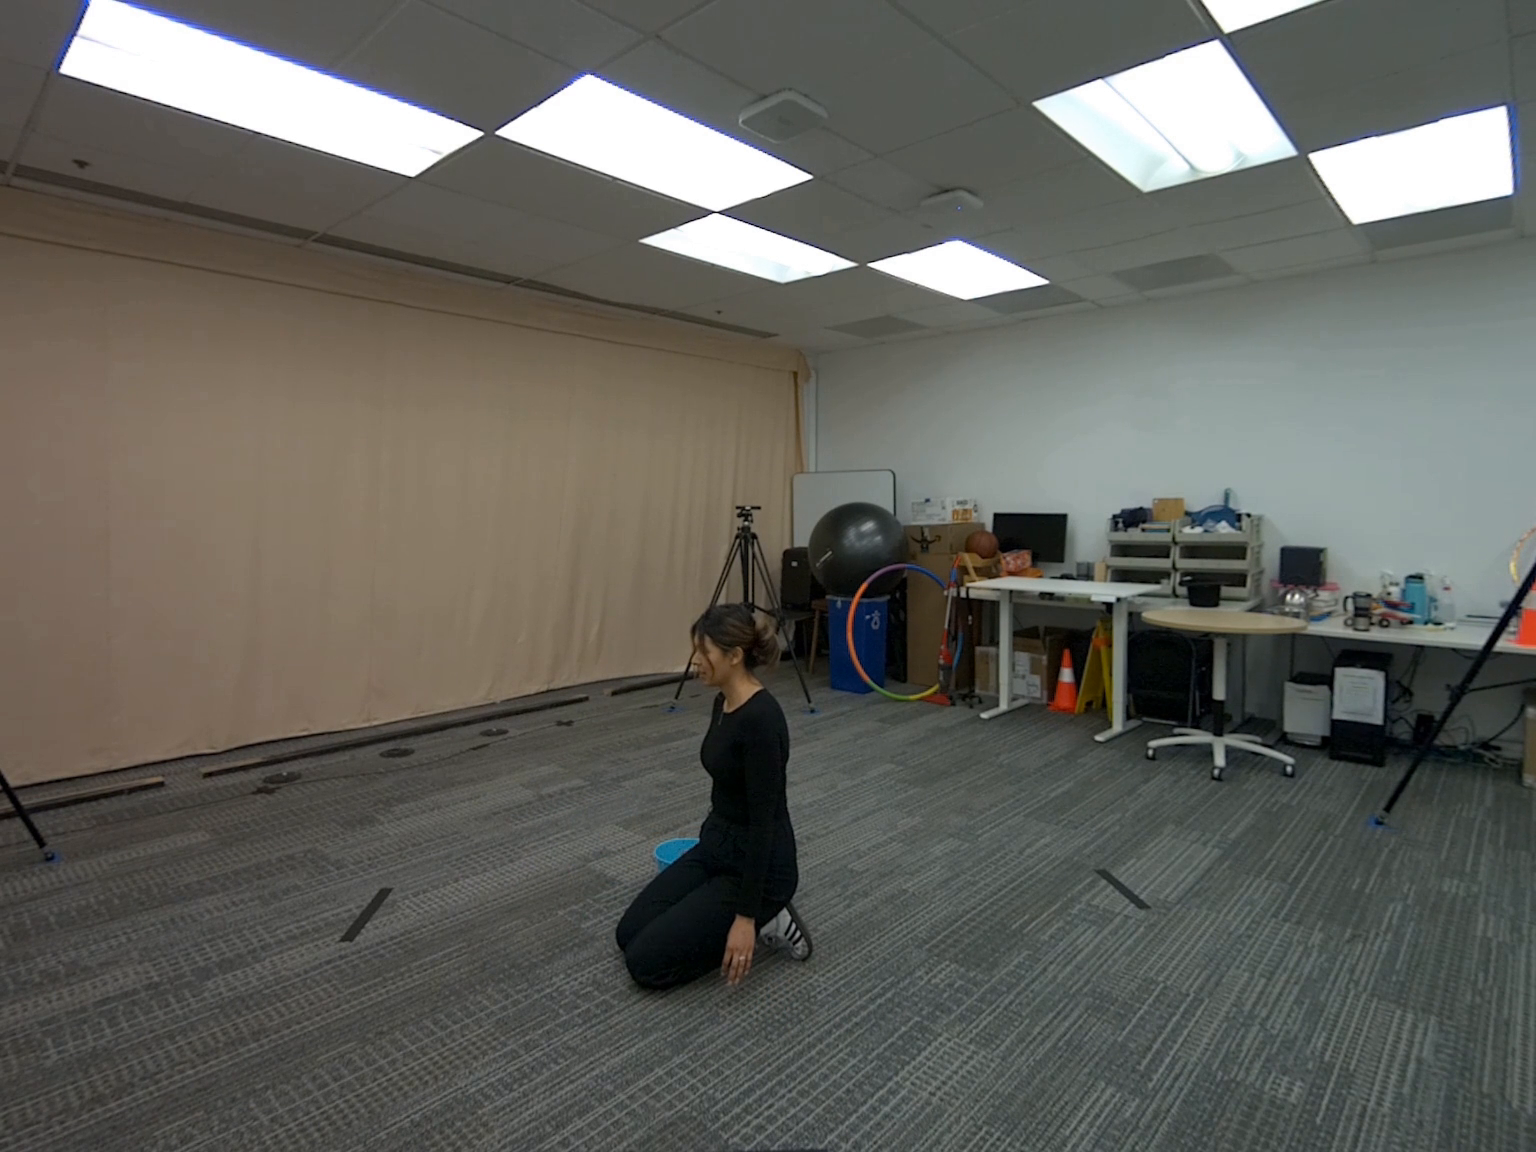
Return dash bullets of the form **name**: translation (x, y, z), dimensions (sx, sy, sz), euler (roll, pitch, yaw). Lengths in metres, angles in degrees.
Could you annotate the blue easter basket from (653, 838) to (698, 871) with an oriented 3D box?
- **blue easter basket**: translation (-0.285, 1.066, 3.033), dimensions (0.243, 0.155, 0.244), euler (0, 4, -2)
